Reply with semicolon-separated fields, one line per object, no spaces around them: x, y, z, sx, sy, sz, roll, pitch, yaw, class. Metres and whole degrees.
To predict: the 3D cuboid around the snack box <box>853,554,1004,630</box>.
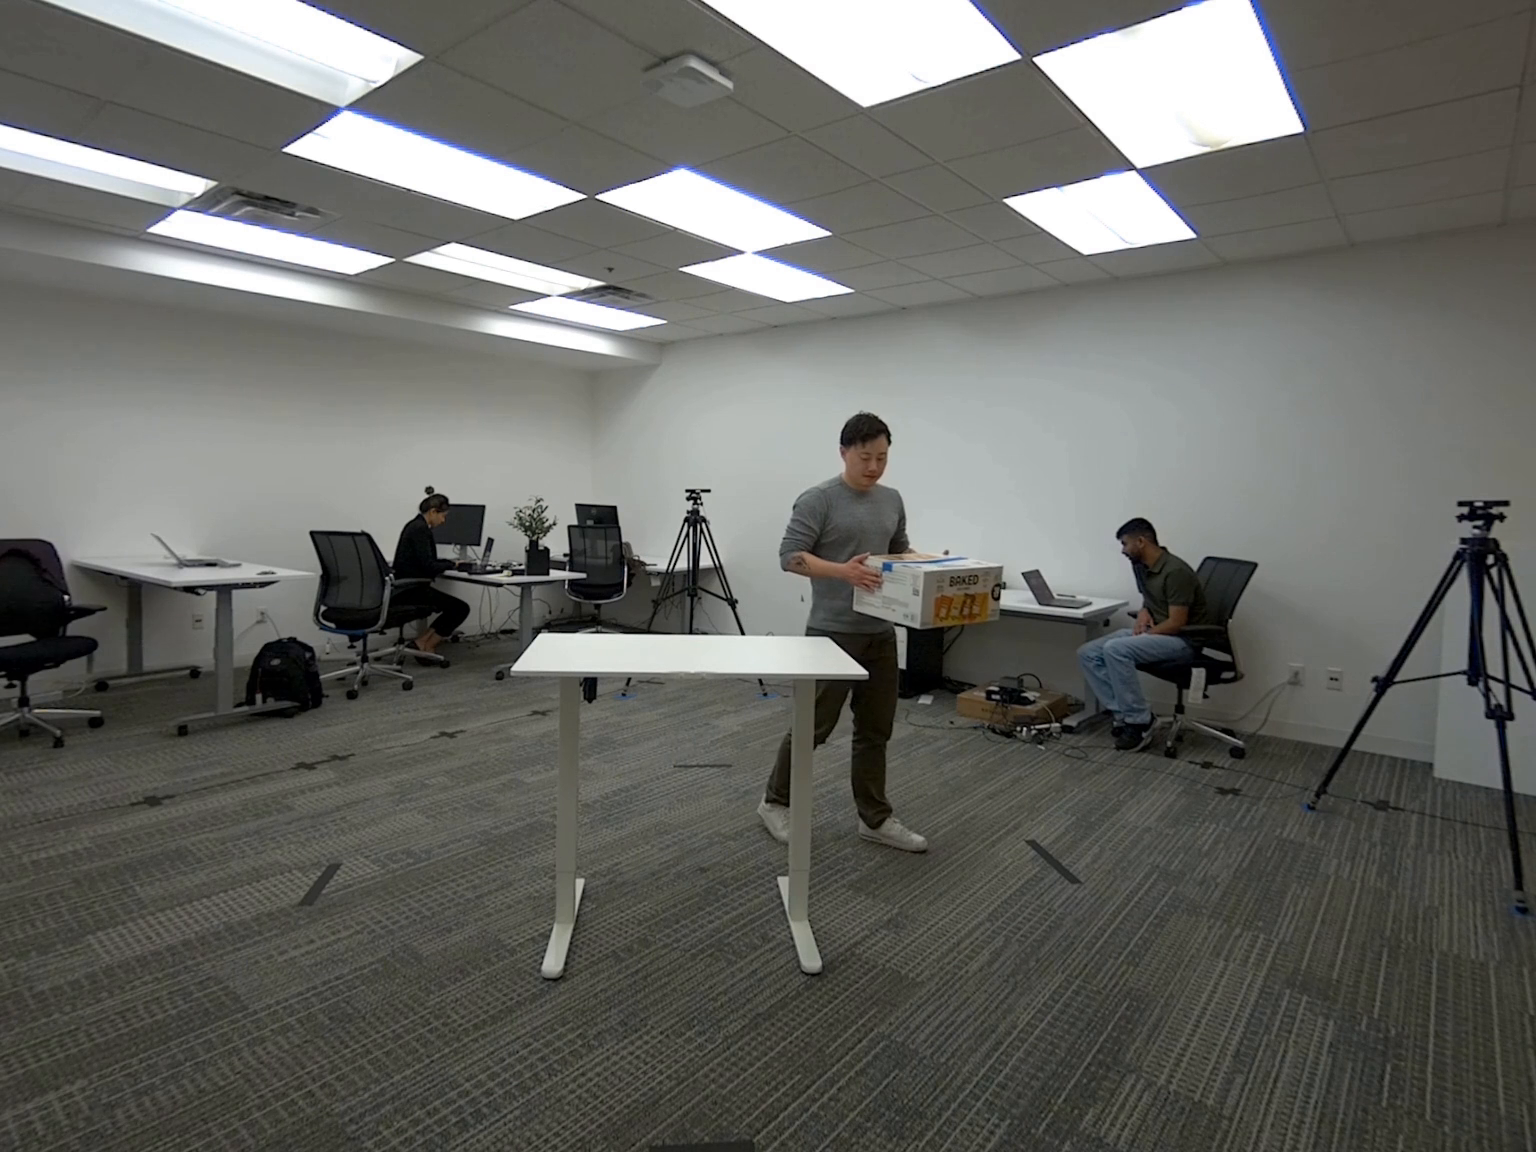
0.573;0.046;3.089;0.394;0.204;0.352;-3;10;-33;snack box
